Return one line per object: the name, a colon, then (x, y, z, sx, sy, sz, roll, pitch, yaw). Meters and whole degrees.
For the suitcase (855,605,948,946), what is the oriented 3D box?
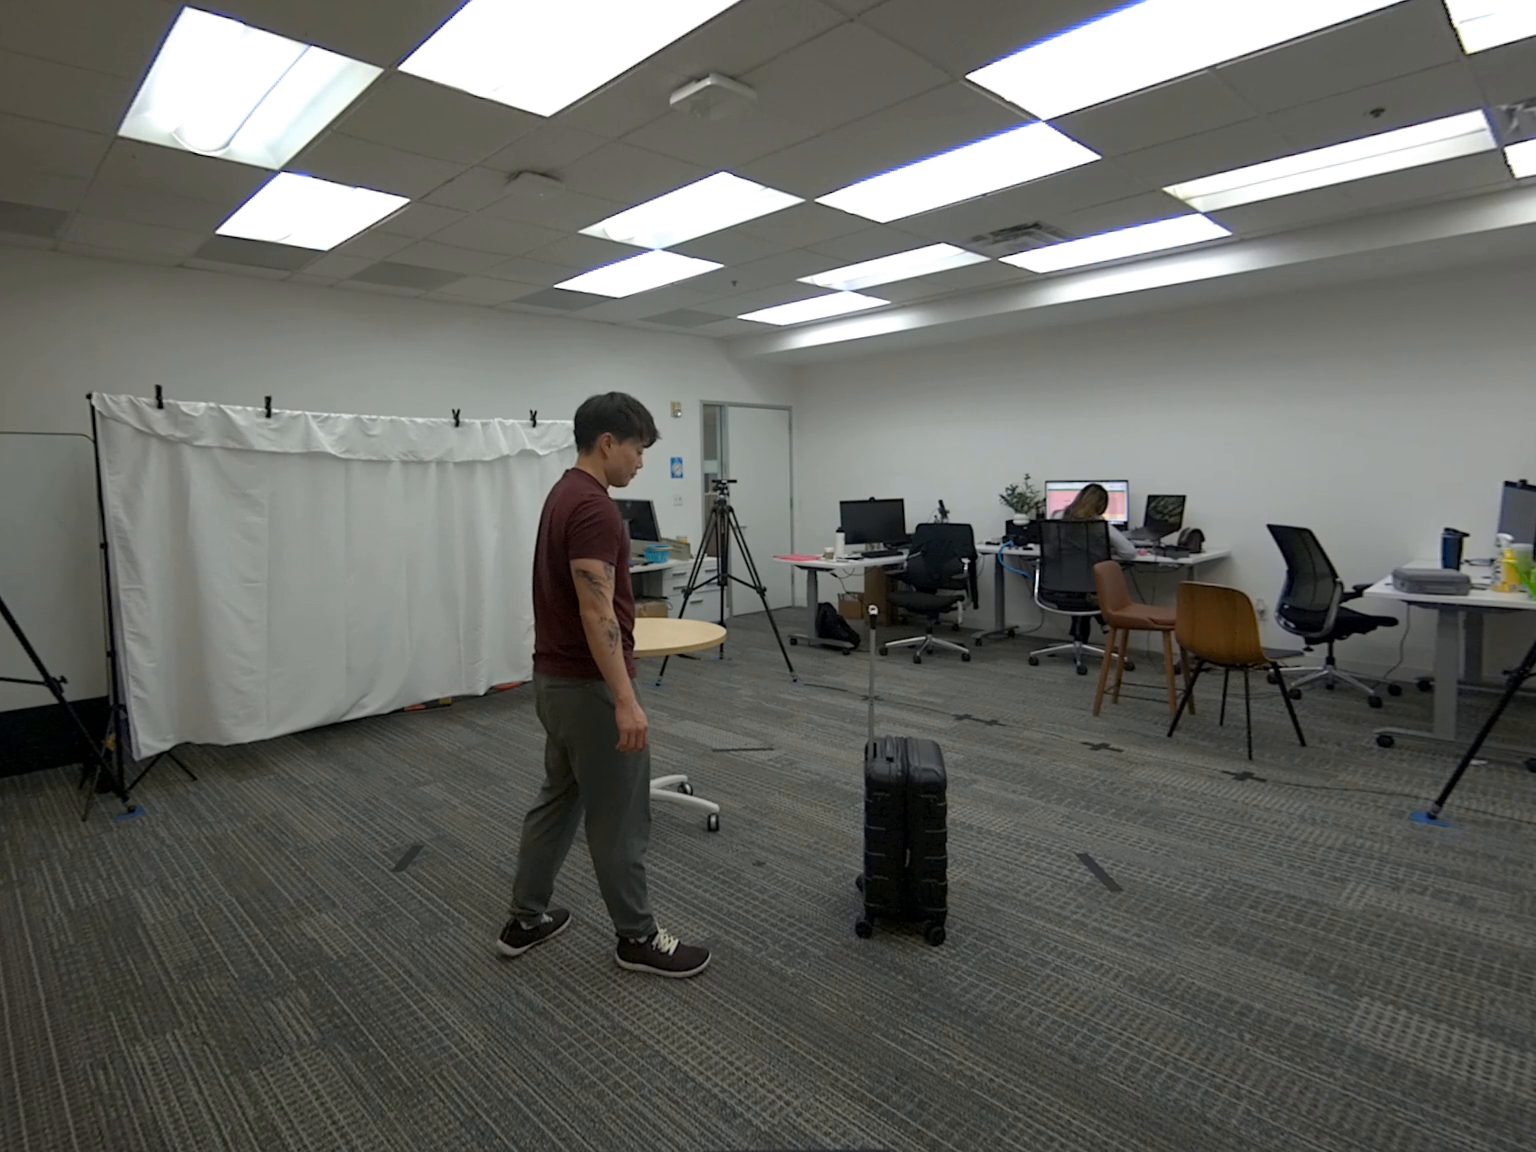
suitcase: (0.441, 0.606, 2.701, 0.259, 0.975, 0.383, 1, 4, 6)
